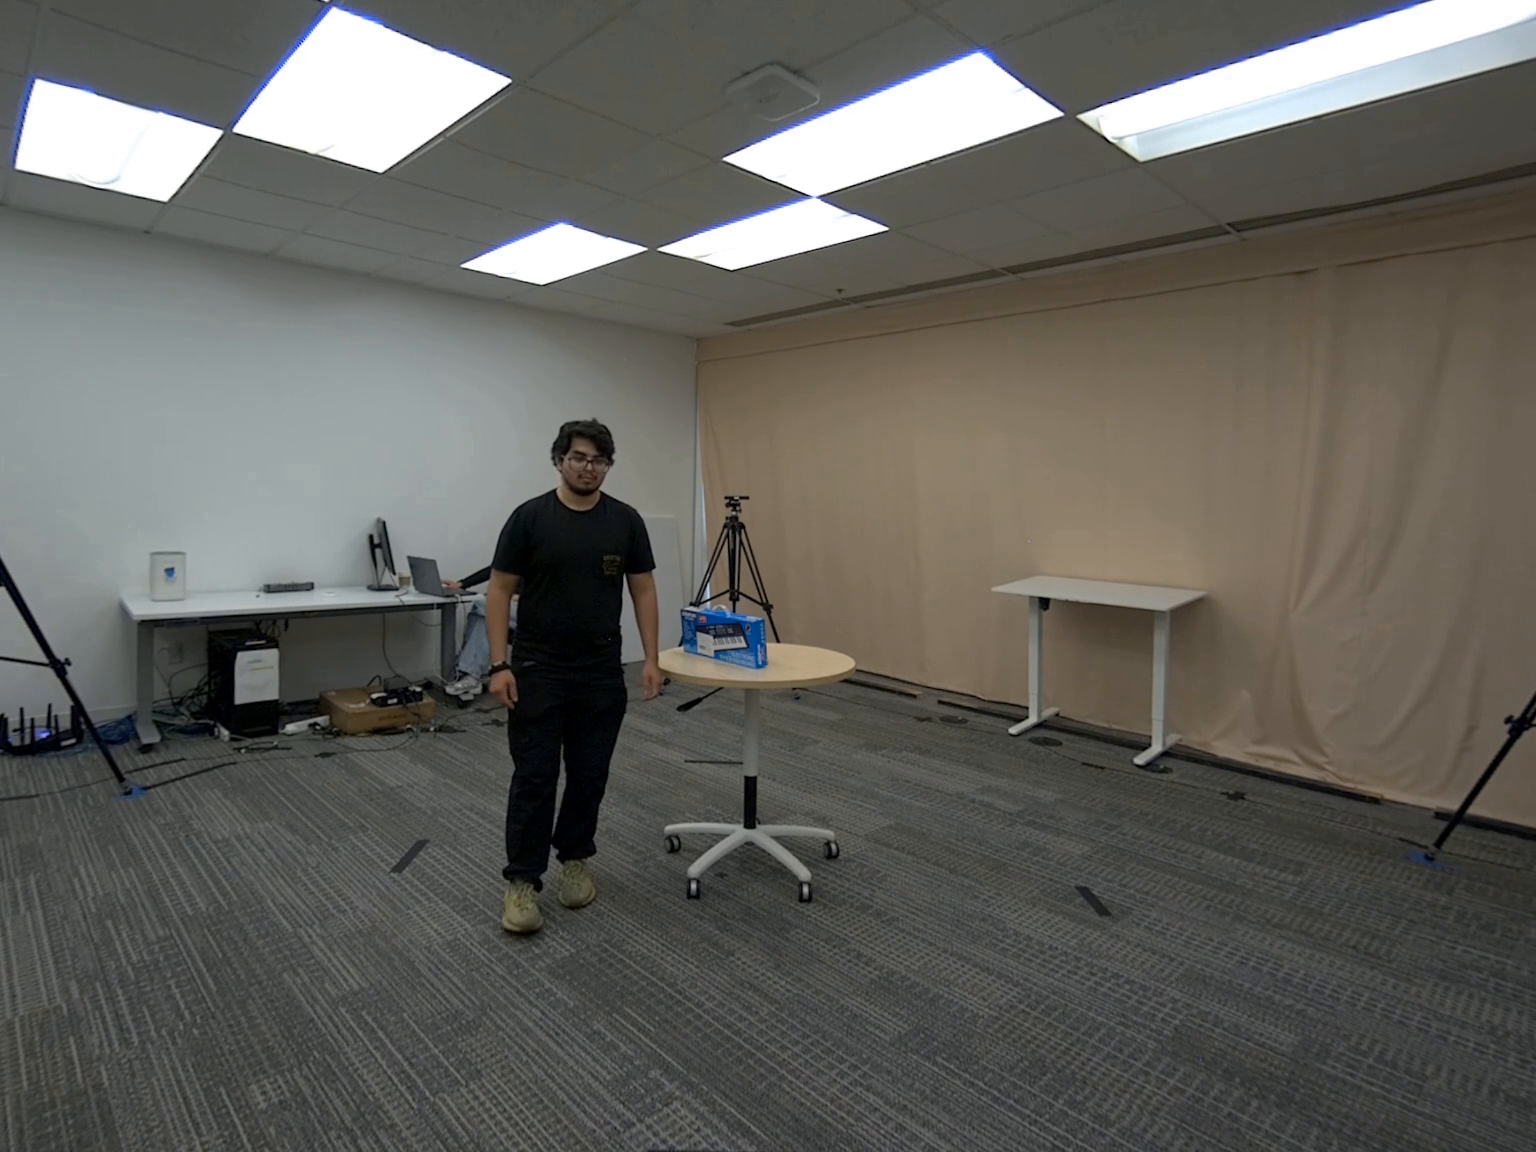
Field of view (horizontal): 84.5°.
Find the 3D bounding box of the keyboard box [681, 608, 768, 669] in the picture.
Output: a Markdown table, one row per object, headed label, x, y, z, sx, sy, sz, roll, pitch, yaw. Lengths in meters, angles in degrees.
| label | x | y | z | sx | sy | sz | roll | pitch | yaw |
| --- | --- | --- | --- | --- | --- | --- | --- | --- | --- |
| keyboard box | -0.178 | 0.228 | 3.164 | 0.058 | 0.175 | 0.448 | -9 | 10 | -40 |
